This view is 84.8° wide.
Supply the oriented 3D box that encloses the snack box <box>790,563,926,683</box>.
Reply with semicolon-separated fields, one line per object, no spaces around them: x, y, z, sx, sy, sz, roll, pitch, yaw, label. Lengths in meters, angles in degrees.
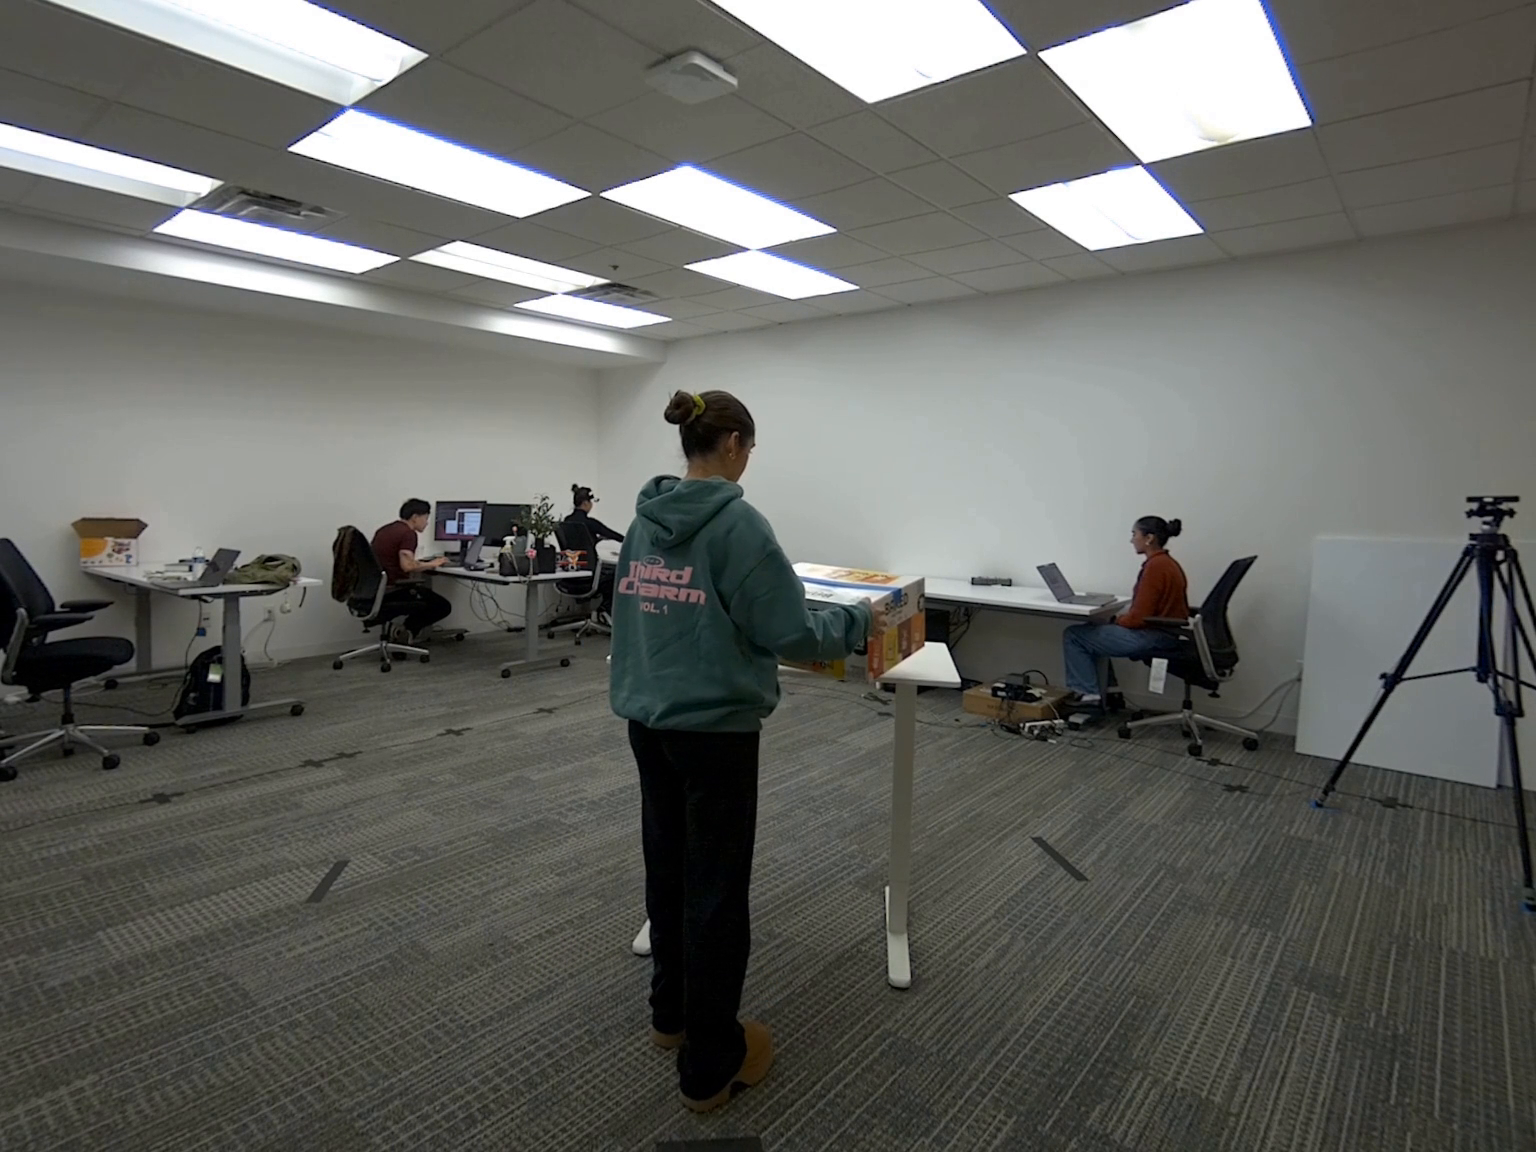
0.165;0.117;2.342;0.419;0.203;0.333;7;15;35;snack box
